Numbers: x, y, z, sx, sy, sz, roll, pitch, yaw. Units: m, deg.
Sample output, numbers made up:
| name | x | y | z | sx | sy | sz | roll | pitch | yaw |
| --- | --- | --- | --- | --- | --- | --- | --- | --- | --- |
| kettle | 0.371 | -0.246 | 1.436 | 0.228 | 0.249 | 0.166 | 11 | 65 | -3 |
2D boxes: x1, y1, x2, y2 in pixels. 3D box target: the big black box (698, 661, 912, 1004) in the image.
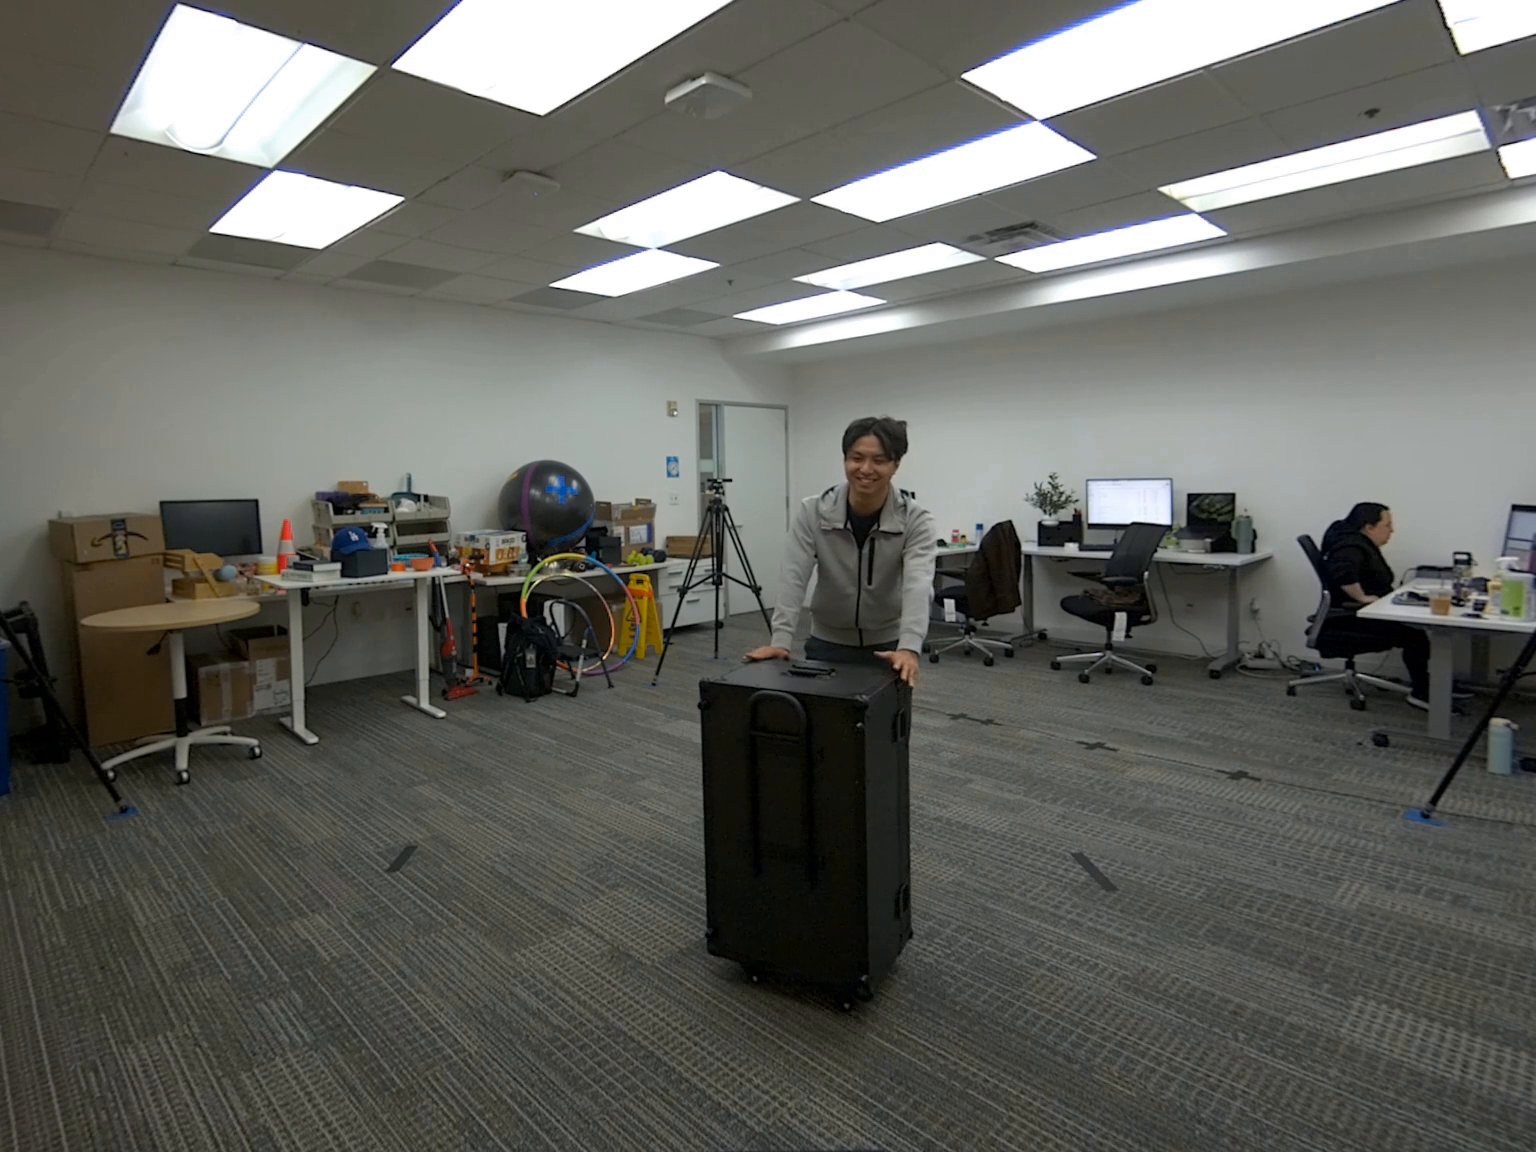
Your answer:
| name | x | y | z | sx | sy | sz | roll | pitch | yaw |
| --- | --- | --- | --- | --- | --- | --- | --- | --- | --- |
| big black box | 0.111 | 0.699 | 2.391 | 0.535 | 0.857 | 0.388 | 2 | 6 | 30 |
